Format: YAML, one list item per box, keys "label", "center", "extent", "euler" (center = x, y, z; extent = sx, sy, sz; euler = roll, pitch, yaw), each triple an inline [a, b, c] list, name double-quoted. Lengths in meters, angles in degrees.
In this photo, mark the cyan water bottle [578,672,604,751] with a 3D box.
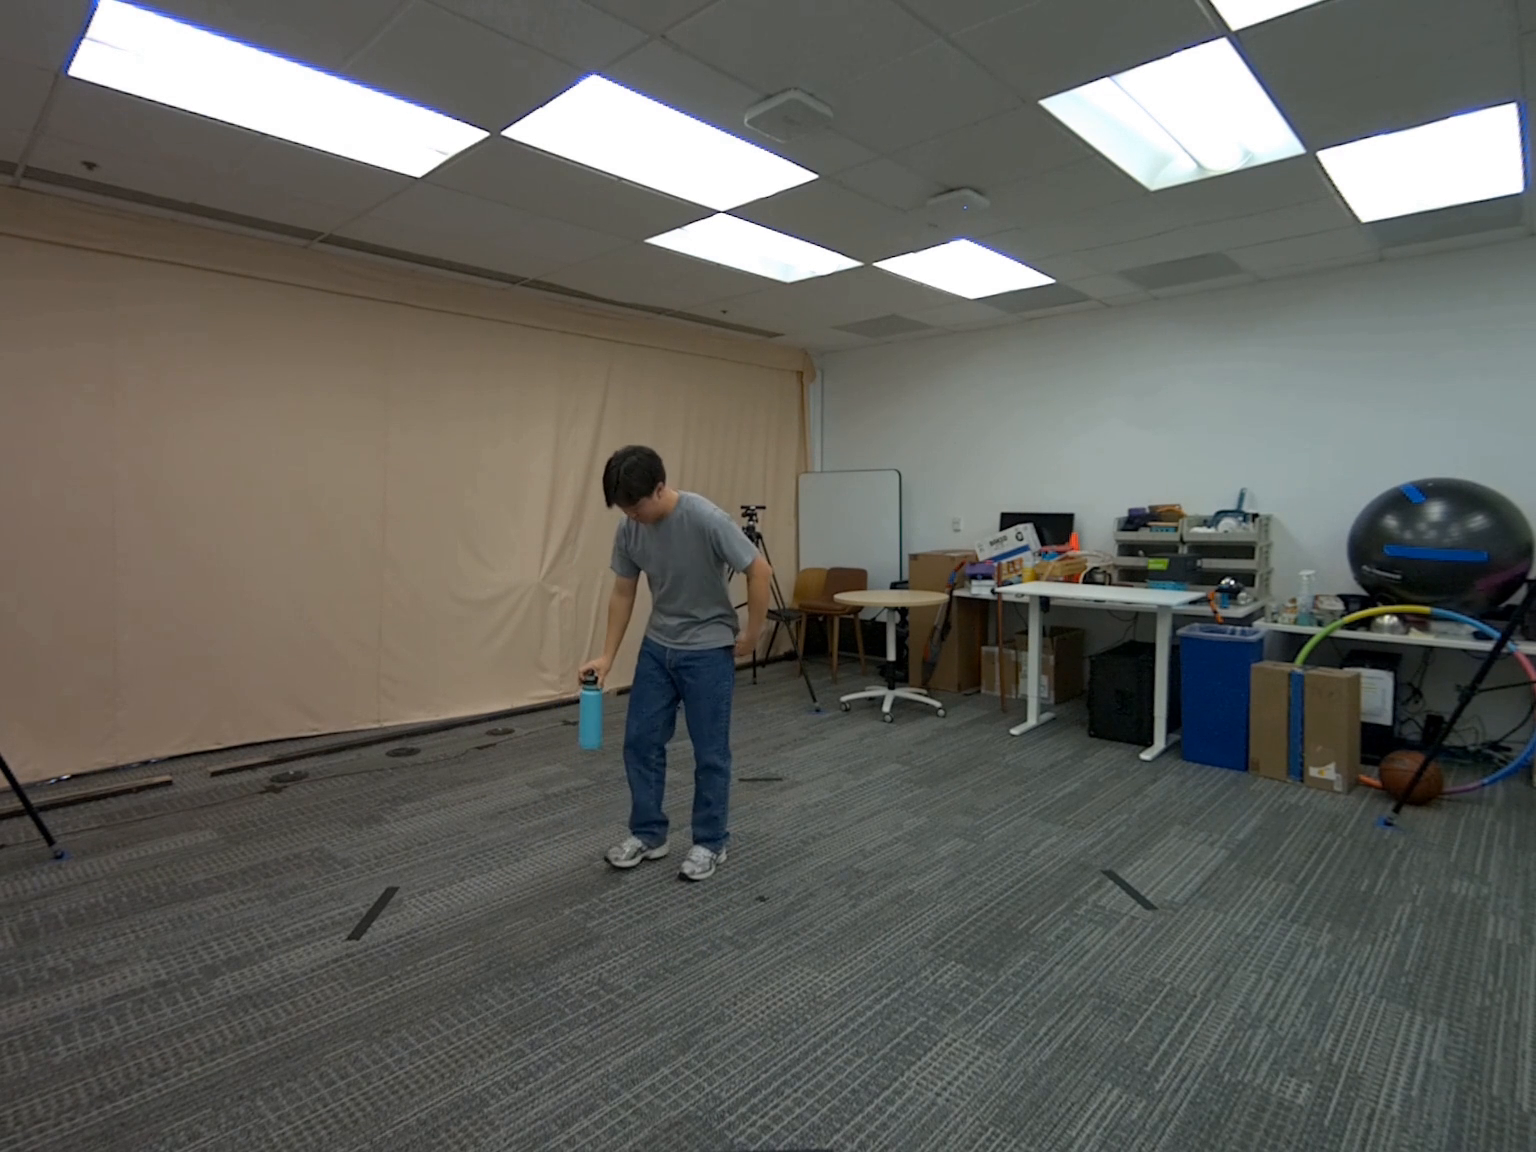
- label: "cyan water bottle"
  center: [-0.680, 0.533, 3.251]
  extent: [0.092, 0.283, 0.093]
  euler: [1, 4, -2]
